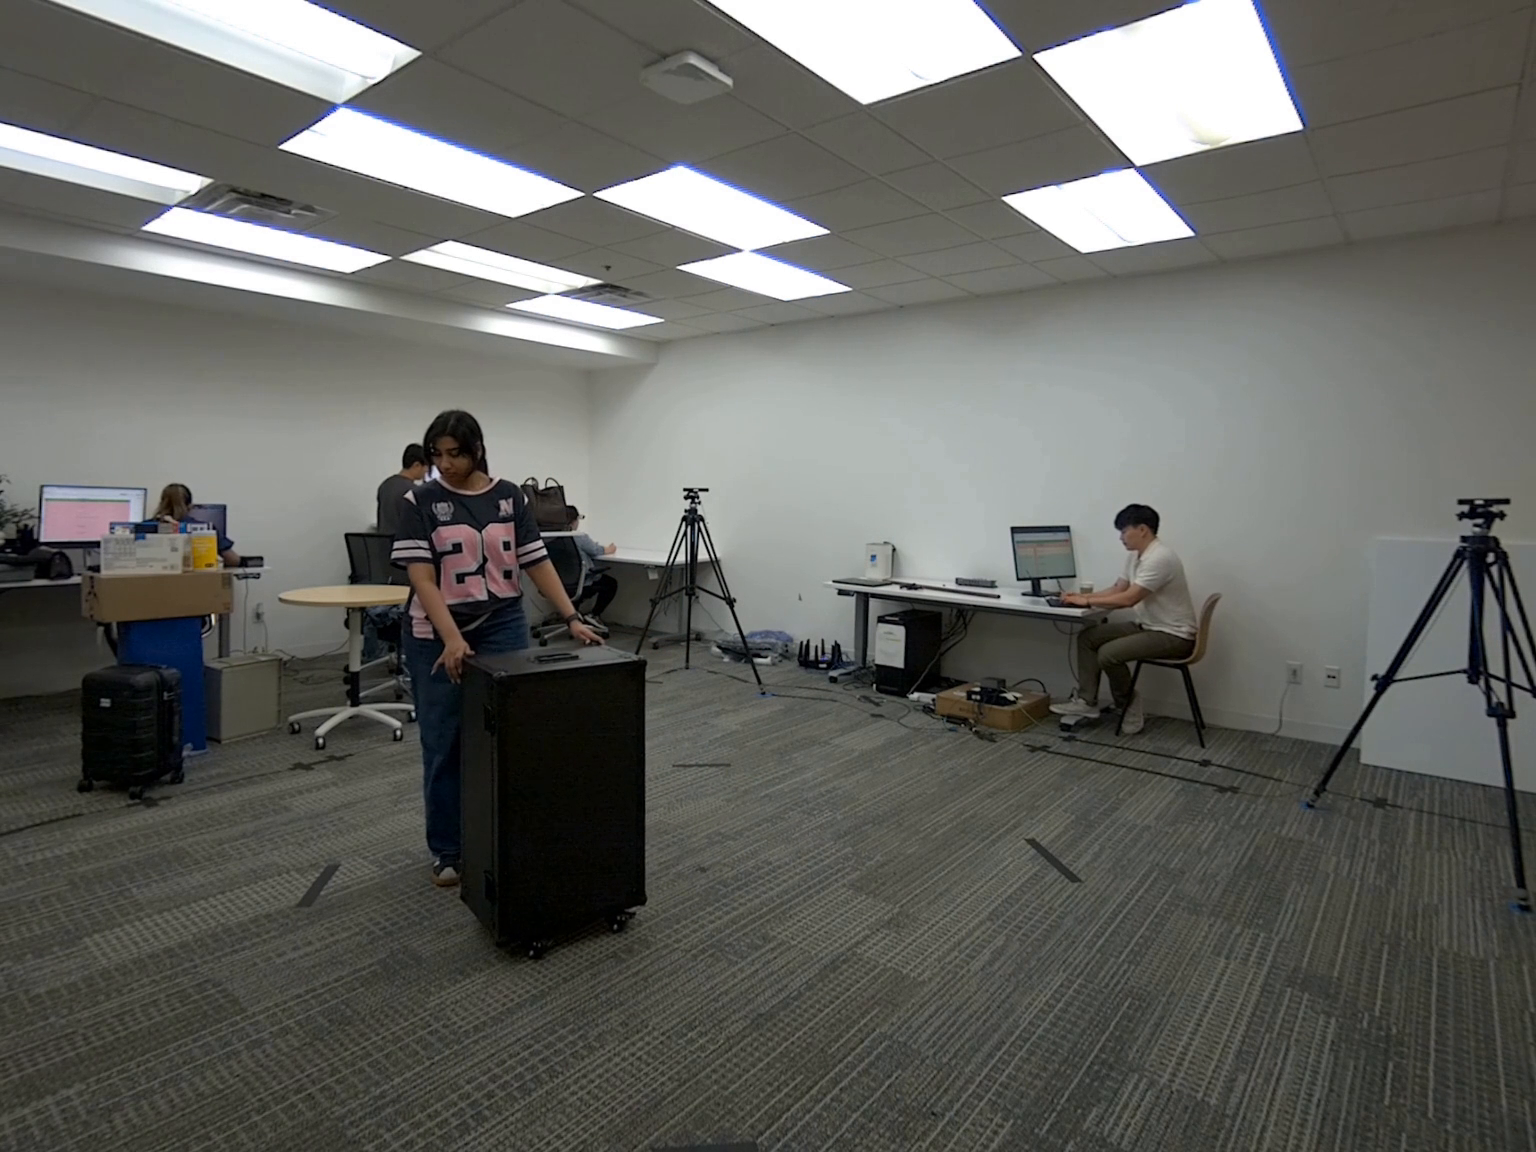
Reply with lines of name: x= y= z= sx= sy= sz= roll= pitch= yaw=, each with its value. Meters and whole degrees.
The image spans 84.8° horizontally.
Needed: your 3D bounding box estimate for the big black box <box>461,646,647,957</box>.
big black box: x=-0.698 y=0.681 z=2.679 sx=0.508 sy=0.867 sz=0.397 roll=-1 pitch=3 yaw=-37
